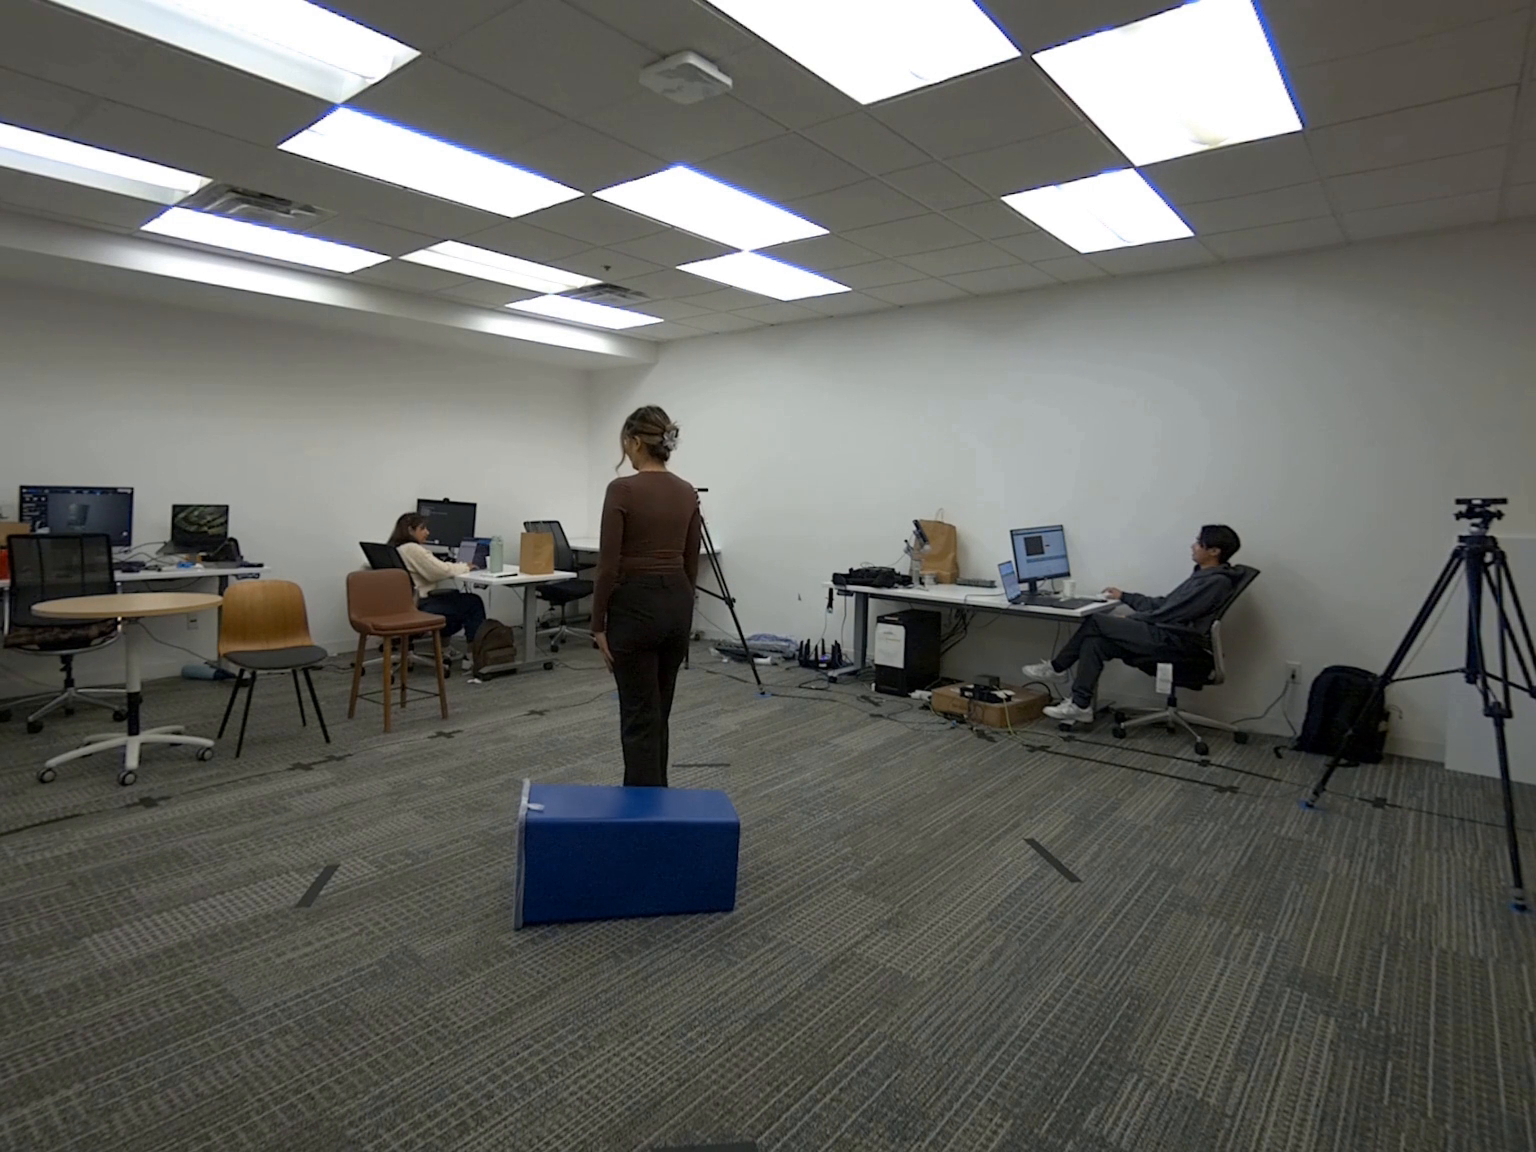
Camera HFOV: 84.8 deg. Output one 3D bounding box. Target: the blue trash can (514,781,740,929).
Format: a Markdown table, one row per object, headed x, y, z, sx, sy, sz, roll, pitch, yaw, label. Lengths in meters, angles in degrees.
| x | y | z | sx | sy | sz | roll | pitch | yaw | label |
| --- | --- | --- | --- | --- | --- | --- | --- | --- | --- |
| -0.492 | 0.925 | 2.878 | 0.704 | 0.377 | 0.380 | 3 | 3 | -12 | blue trash can |
